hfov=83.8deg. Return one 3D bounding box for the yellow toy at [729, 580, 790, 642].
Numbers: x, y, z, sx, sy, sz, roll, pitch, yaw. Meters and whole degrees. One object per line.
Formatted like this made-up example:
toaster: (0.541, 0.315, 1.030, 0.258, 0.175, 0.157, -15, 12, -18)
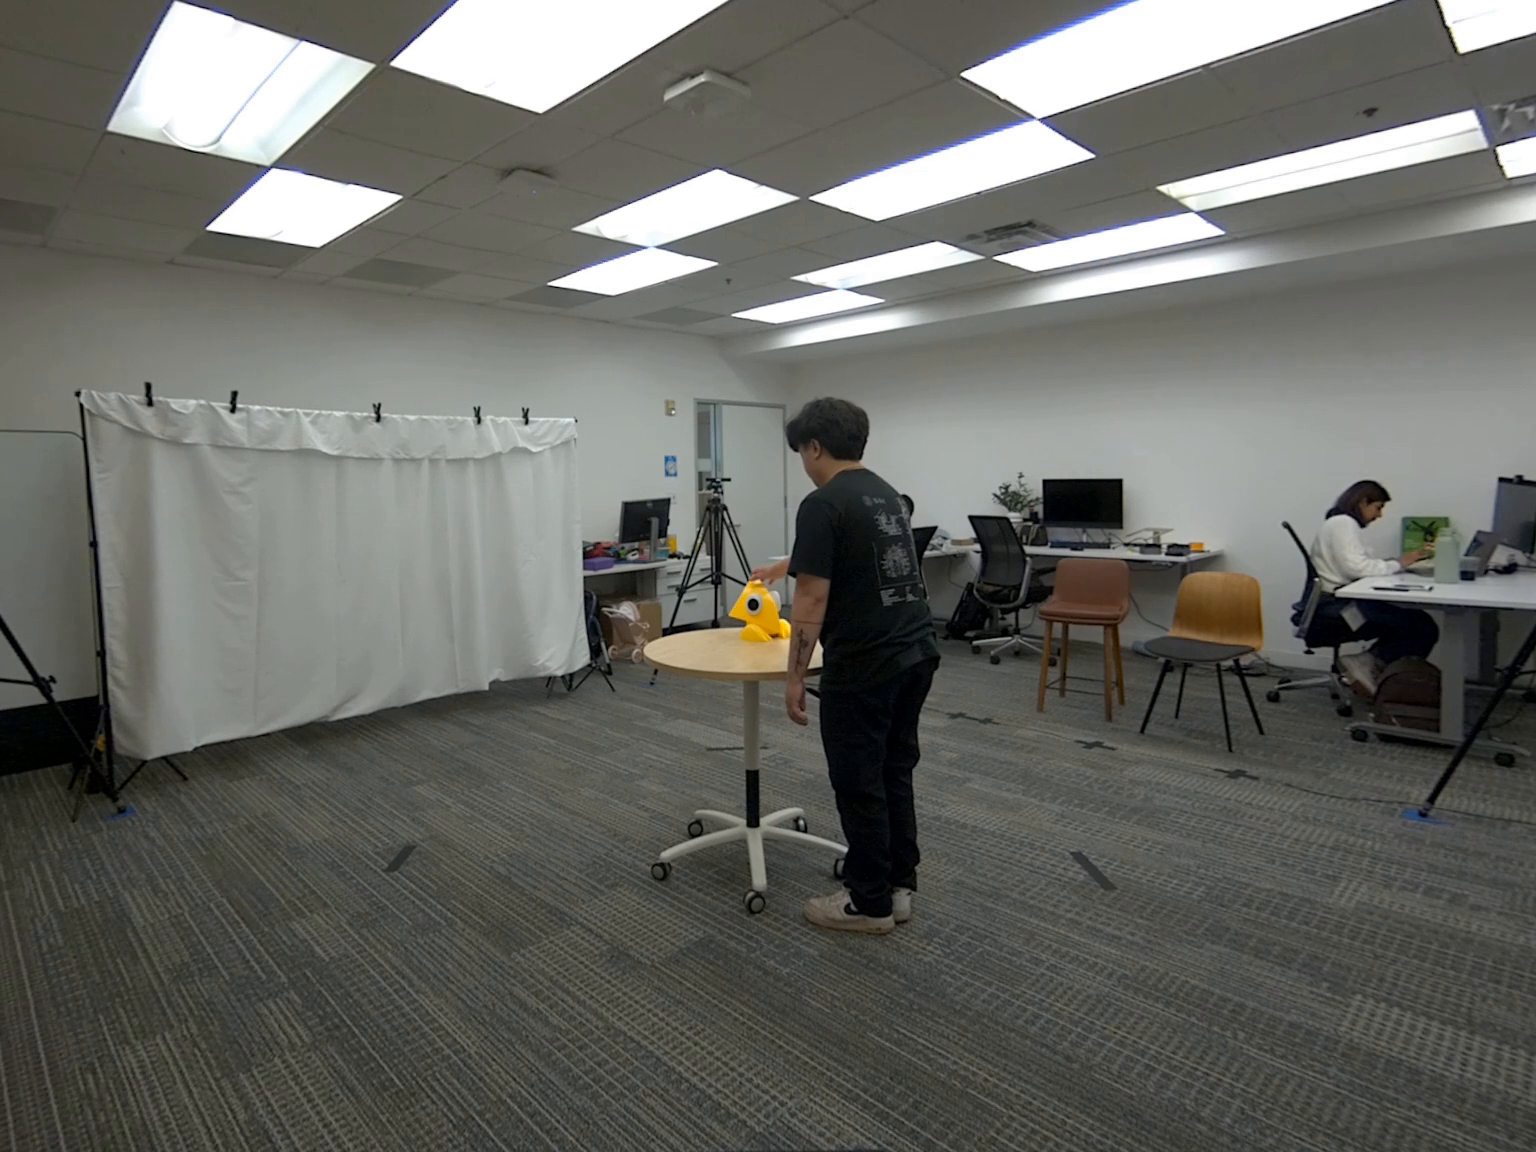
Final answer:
yellow toy: (-0.012, 0.116, 3.245, 0.199, 0.229, 0.199, -5, 7, -37)
